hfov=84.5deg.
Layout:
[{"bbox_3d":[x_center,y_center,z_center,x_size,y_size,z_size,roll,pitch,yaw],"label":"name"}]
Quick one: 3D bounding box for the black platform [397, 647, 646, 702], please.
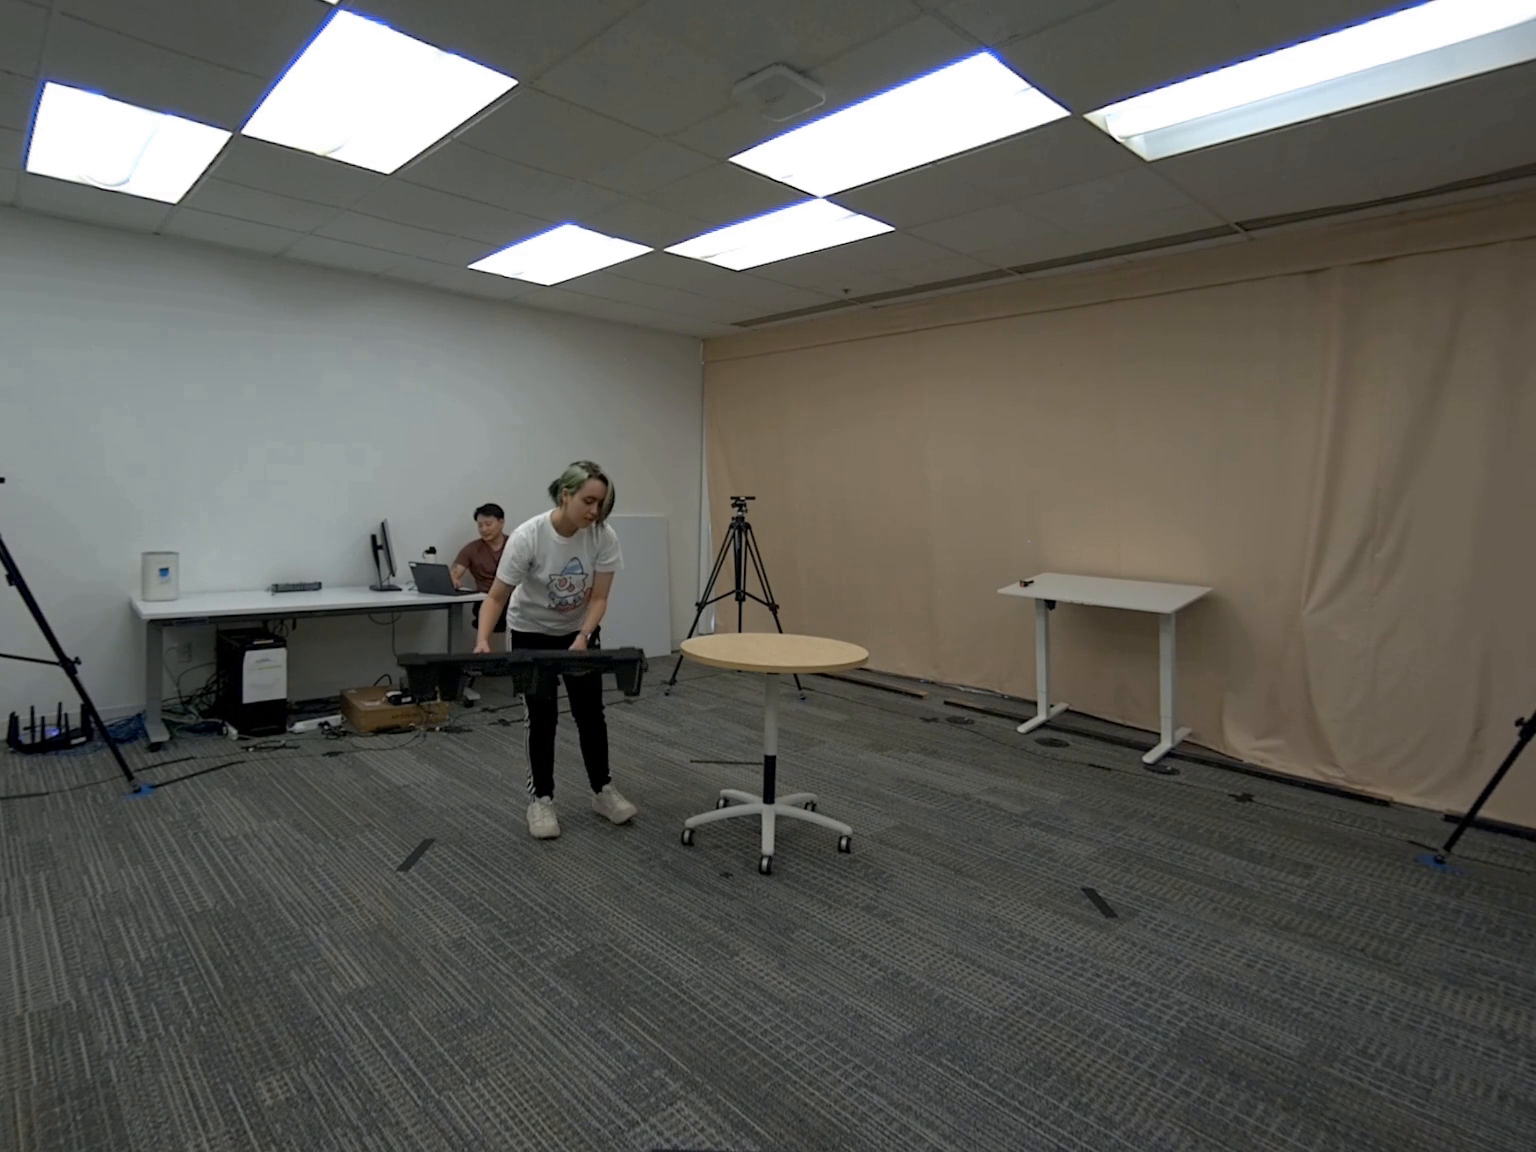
[{"bbox_3d":[-0.854,0.371,3.024,0.802,0.144,0.602,-1,-11,-6],"label":"black platform"}]
